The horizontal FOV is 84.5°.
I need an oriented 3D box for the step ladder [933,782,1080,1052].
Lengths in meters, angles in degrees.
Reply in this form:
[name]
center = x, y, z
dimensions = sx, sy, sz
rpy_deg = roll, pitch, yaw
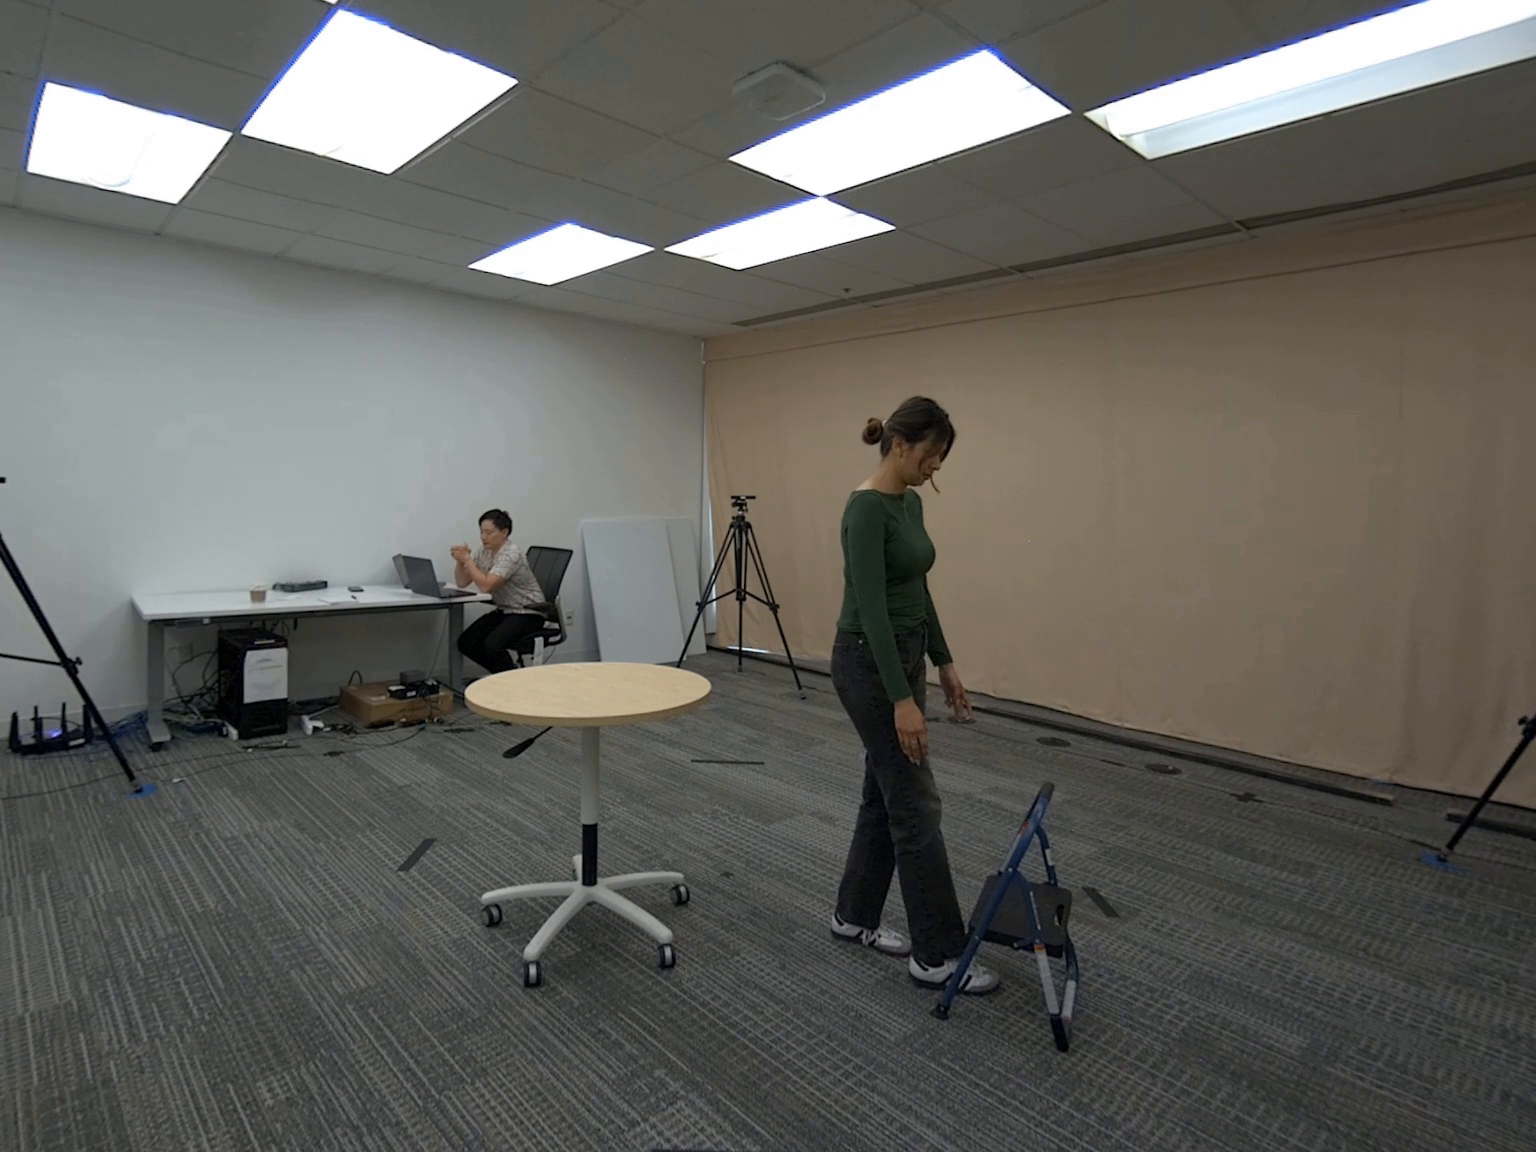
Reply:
[step ladder]
center = 0.690, 0.888, 2.371
dimensions = 0.356, 0.604, 0.424
rpy_deg = 4, 4, 24
